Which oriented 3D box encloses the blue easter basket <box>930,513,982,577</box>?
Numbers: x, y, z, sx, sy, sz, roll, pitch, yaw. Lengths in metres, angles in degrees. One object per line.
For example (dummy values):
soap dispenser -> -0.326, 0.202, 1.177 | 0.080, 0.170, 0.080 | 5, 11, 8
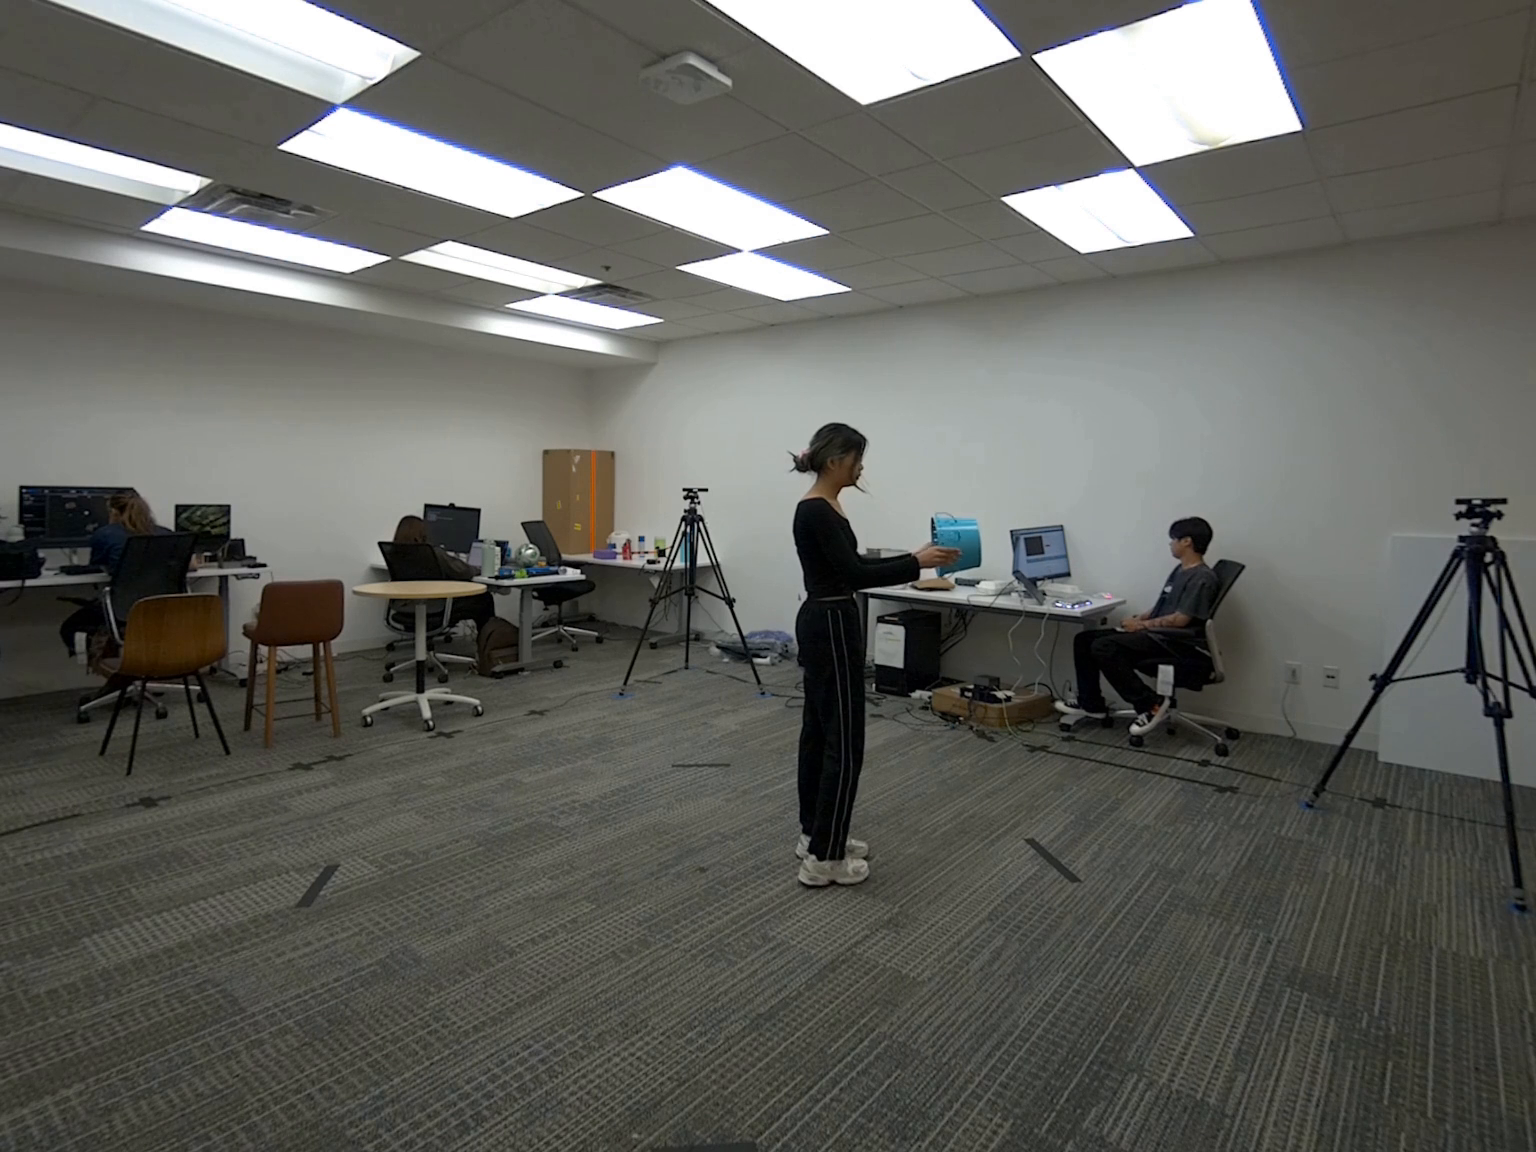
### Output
blue easter basket -> 0.692, -0.114, 3.164 | 0.157, 0.243, 0.242 | -5, 3, 8
